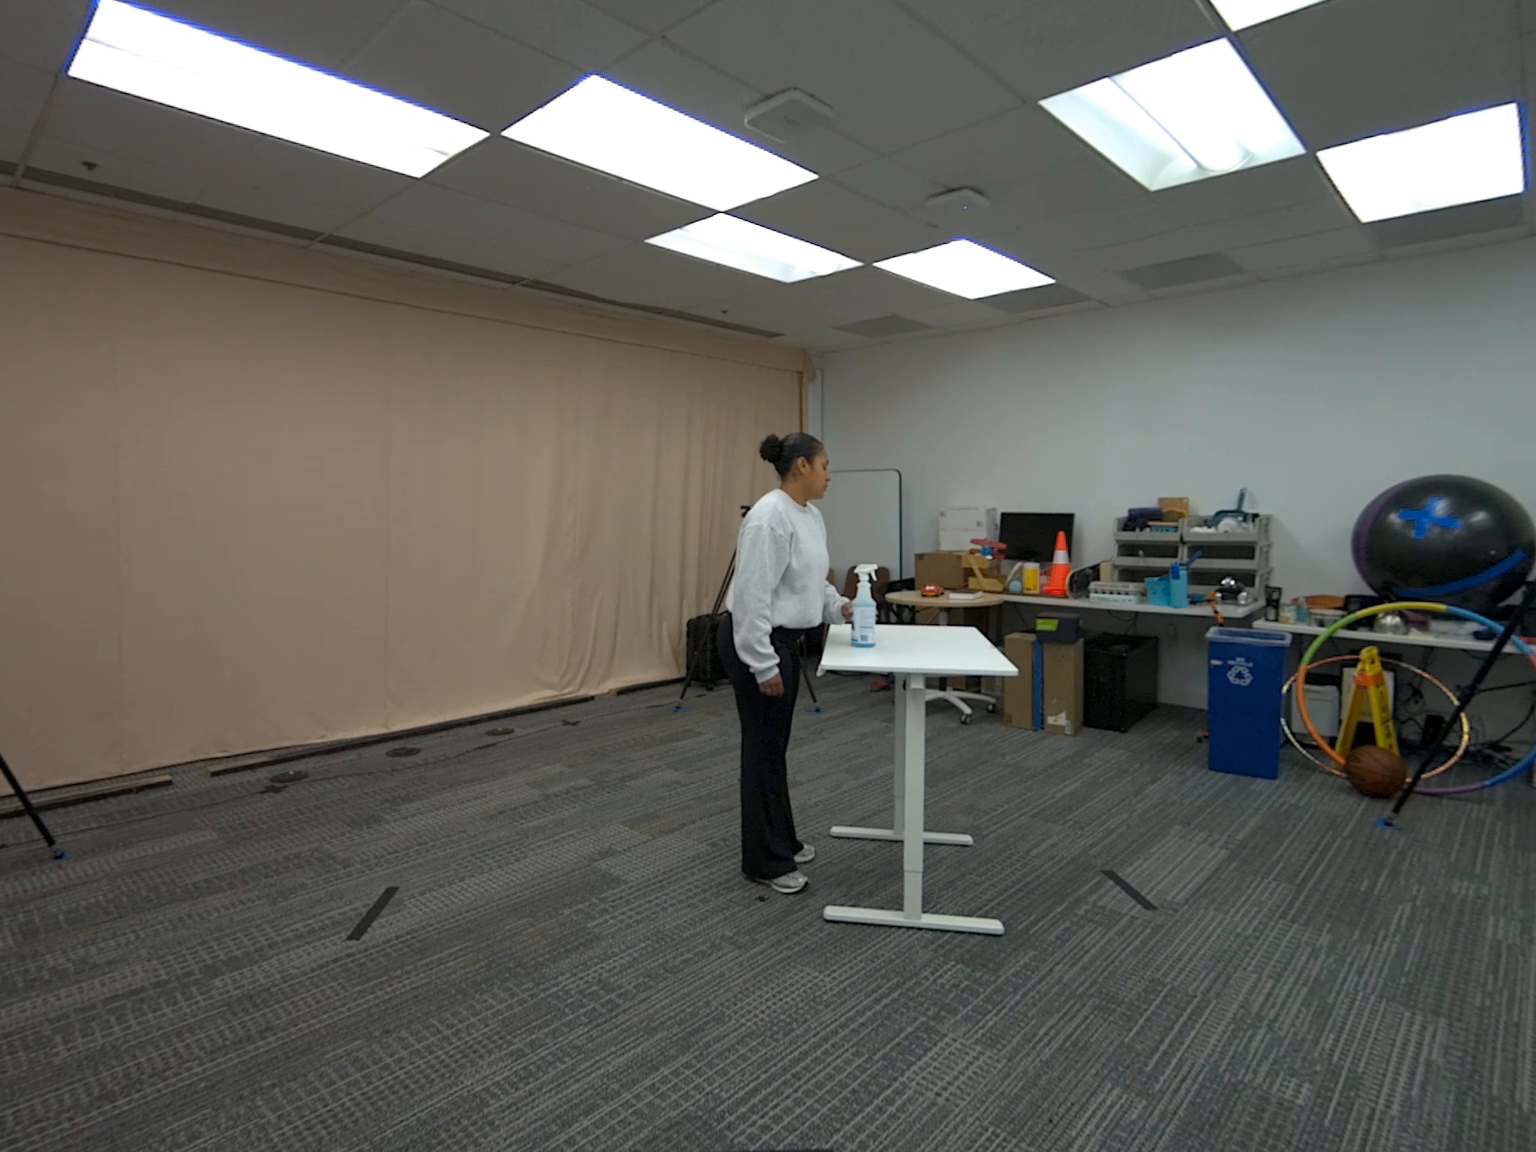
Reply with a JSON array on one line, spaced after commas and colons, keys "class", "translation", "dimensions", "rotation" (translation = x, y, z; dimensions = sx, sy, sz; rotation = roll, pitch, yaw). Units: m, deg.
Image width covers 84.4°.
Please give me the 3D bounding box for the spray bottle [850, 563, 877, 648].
[{"class": "spray bottle", "translation": [0.353, 0.104, 3.031], "dimensions": [0.085, 0.297, 0.092], "rotation": [0, 3, -28]}]
